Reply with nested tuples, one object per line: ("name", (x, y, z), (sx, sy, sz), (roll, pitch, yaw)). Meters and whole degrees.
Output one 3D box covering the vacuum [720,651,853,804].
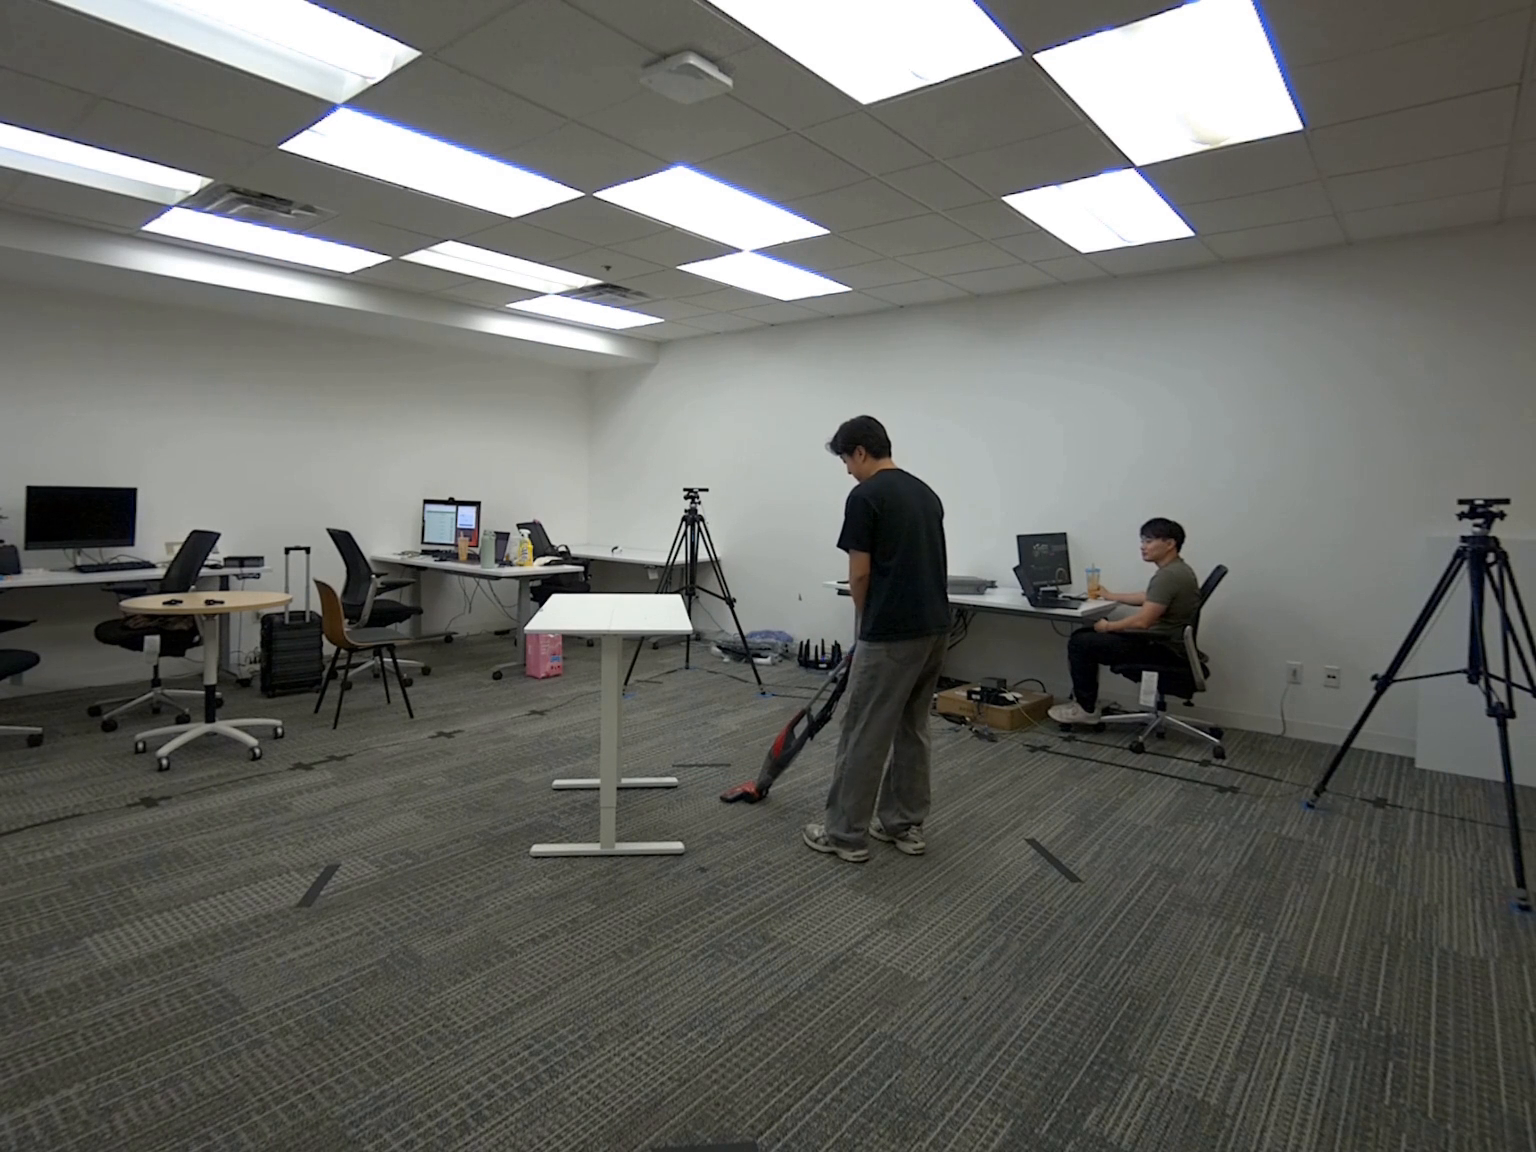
("vacuum", (0.166, 0.602, 3.662), (0.148, 1.045, 0.246), (45, 24, 22))
